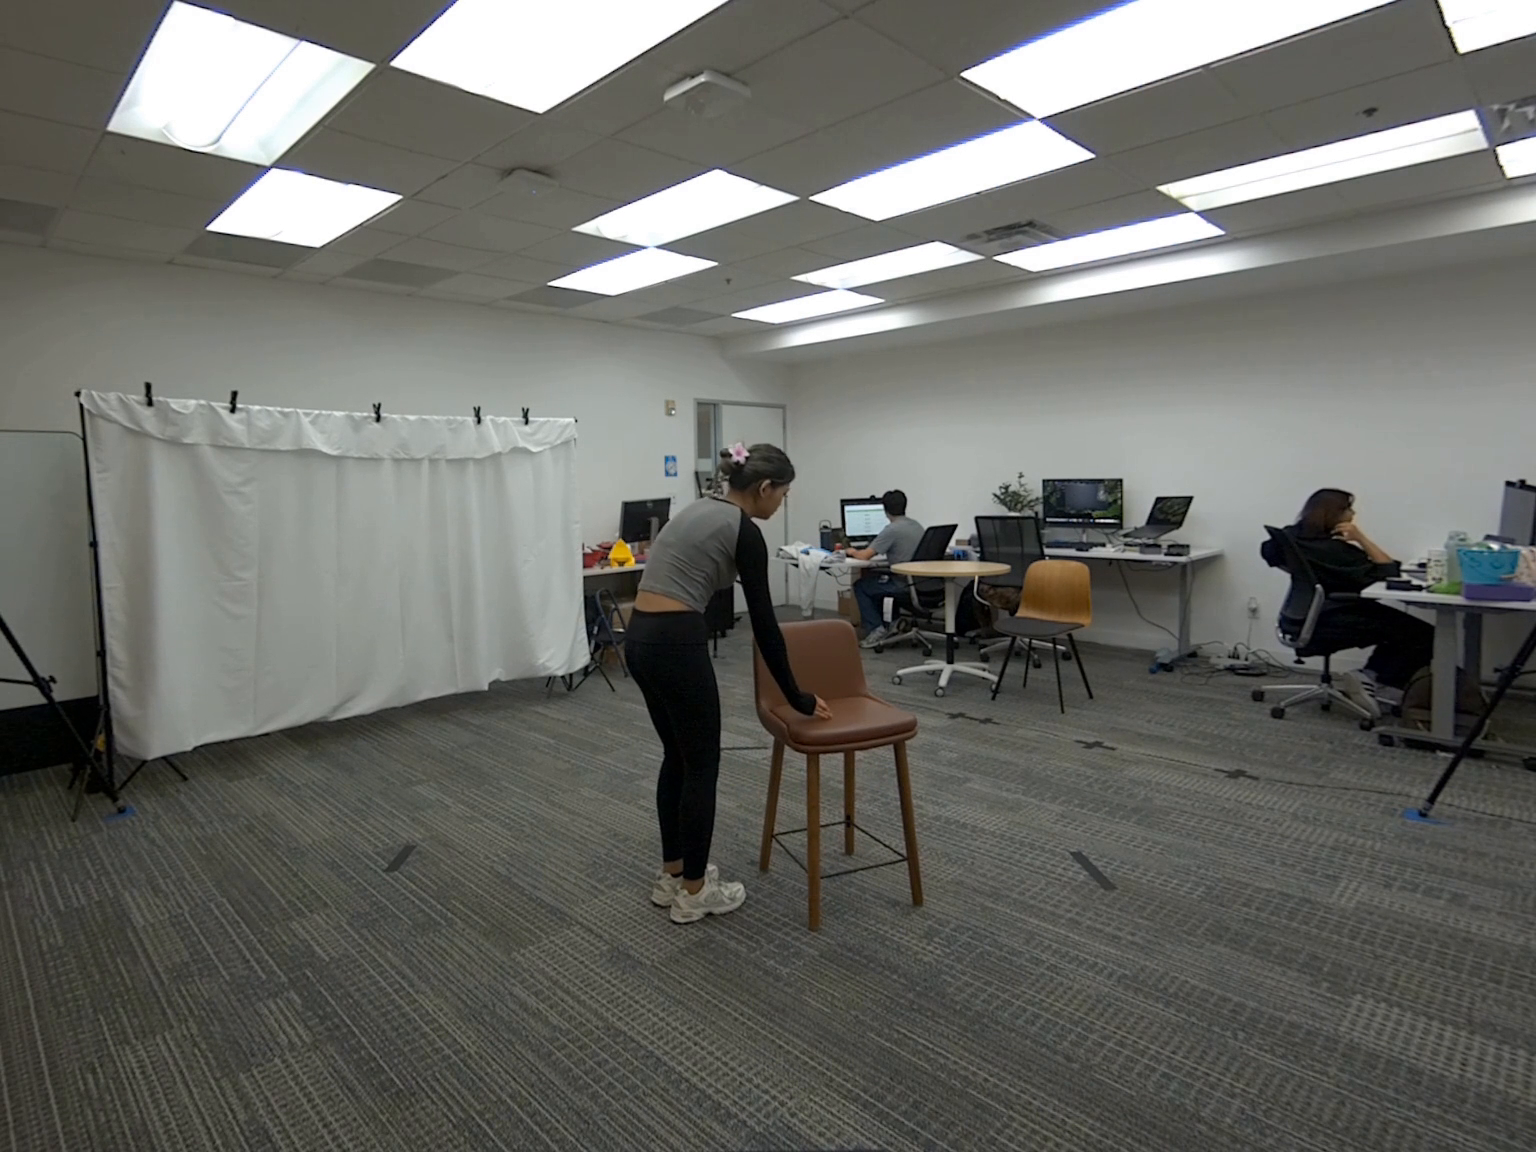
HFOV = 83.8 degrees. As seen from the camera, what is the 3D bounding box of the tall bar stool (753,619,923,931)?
[{"bbox_3d":[0.225,0.626,2.890,0.448,0.888,0.478,-3,3,-23],"label":"tall bar stool"}]
